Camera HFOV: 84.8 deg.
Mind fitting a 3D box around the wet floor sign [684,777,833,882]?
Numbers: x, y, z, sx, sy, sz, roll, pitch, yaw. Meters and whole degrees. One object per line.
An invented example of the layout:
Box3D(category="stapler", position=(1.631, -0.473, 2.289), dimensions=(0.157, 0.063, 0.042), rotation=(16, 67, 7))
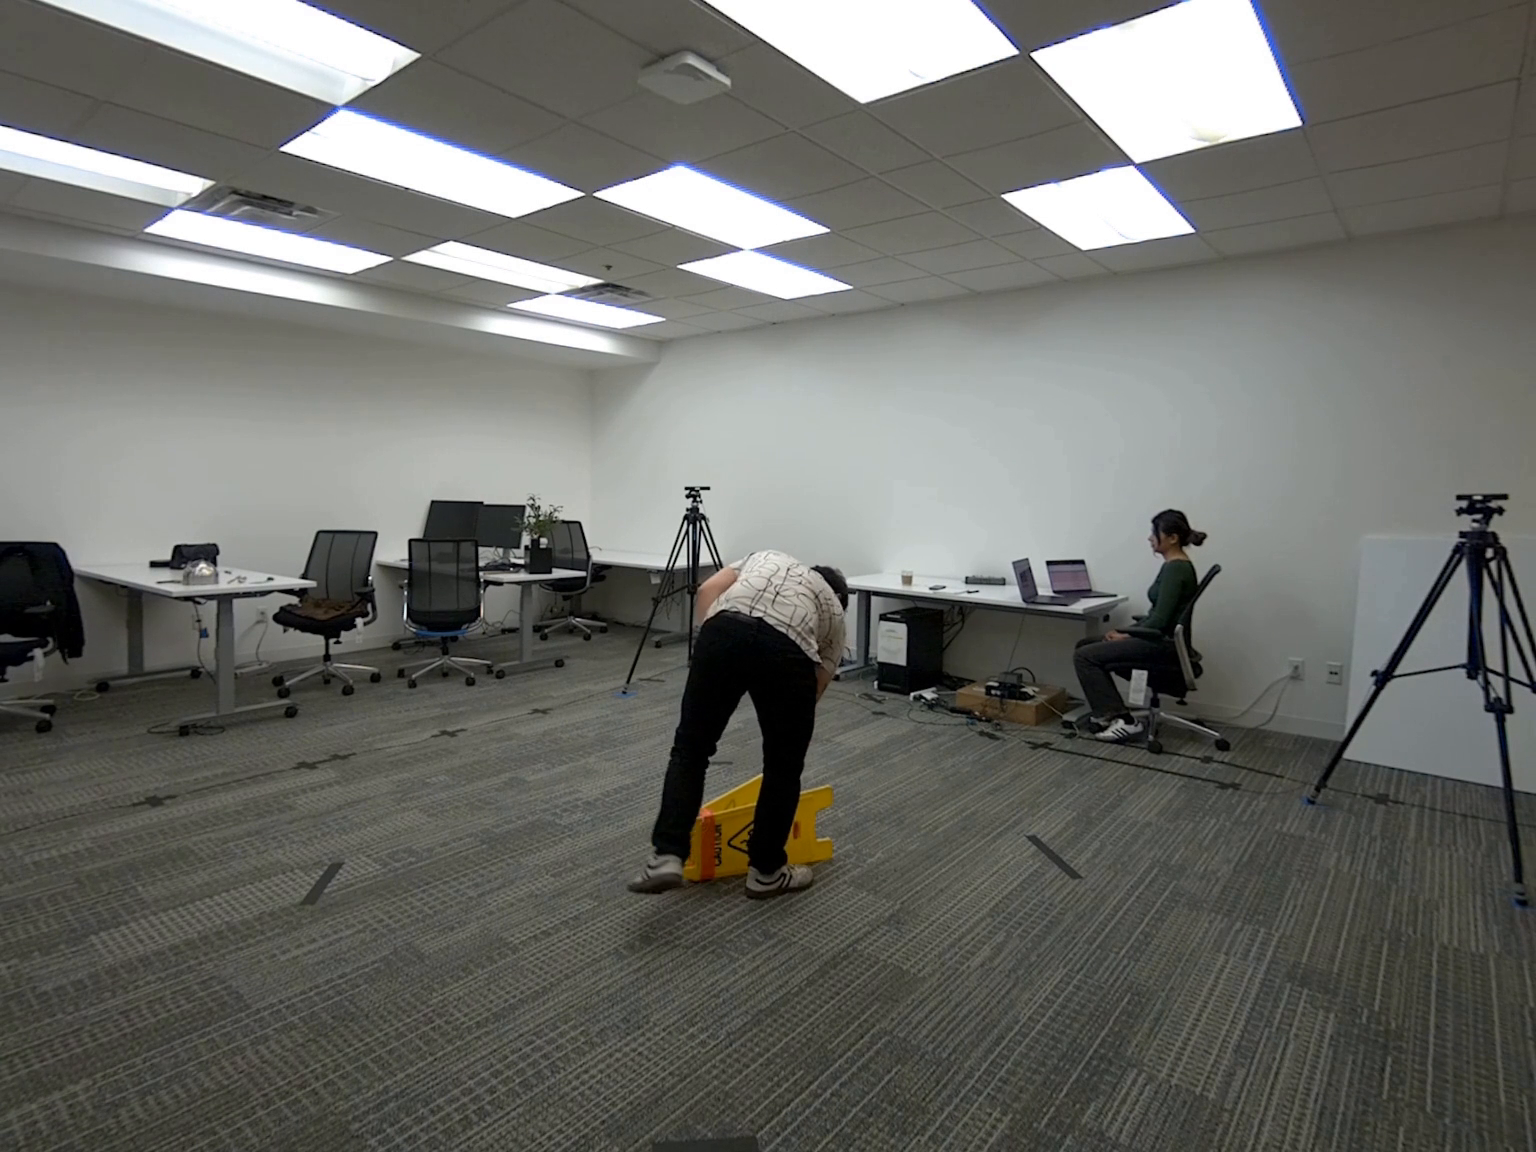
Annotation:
Box3D(category="wet floor sign", position=(-0.105, 0.935, 3.129), dimensions=(0.628, 0.281, 0.299), rotation=(-5, 6, -38))
